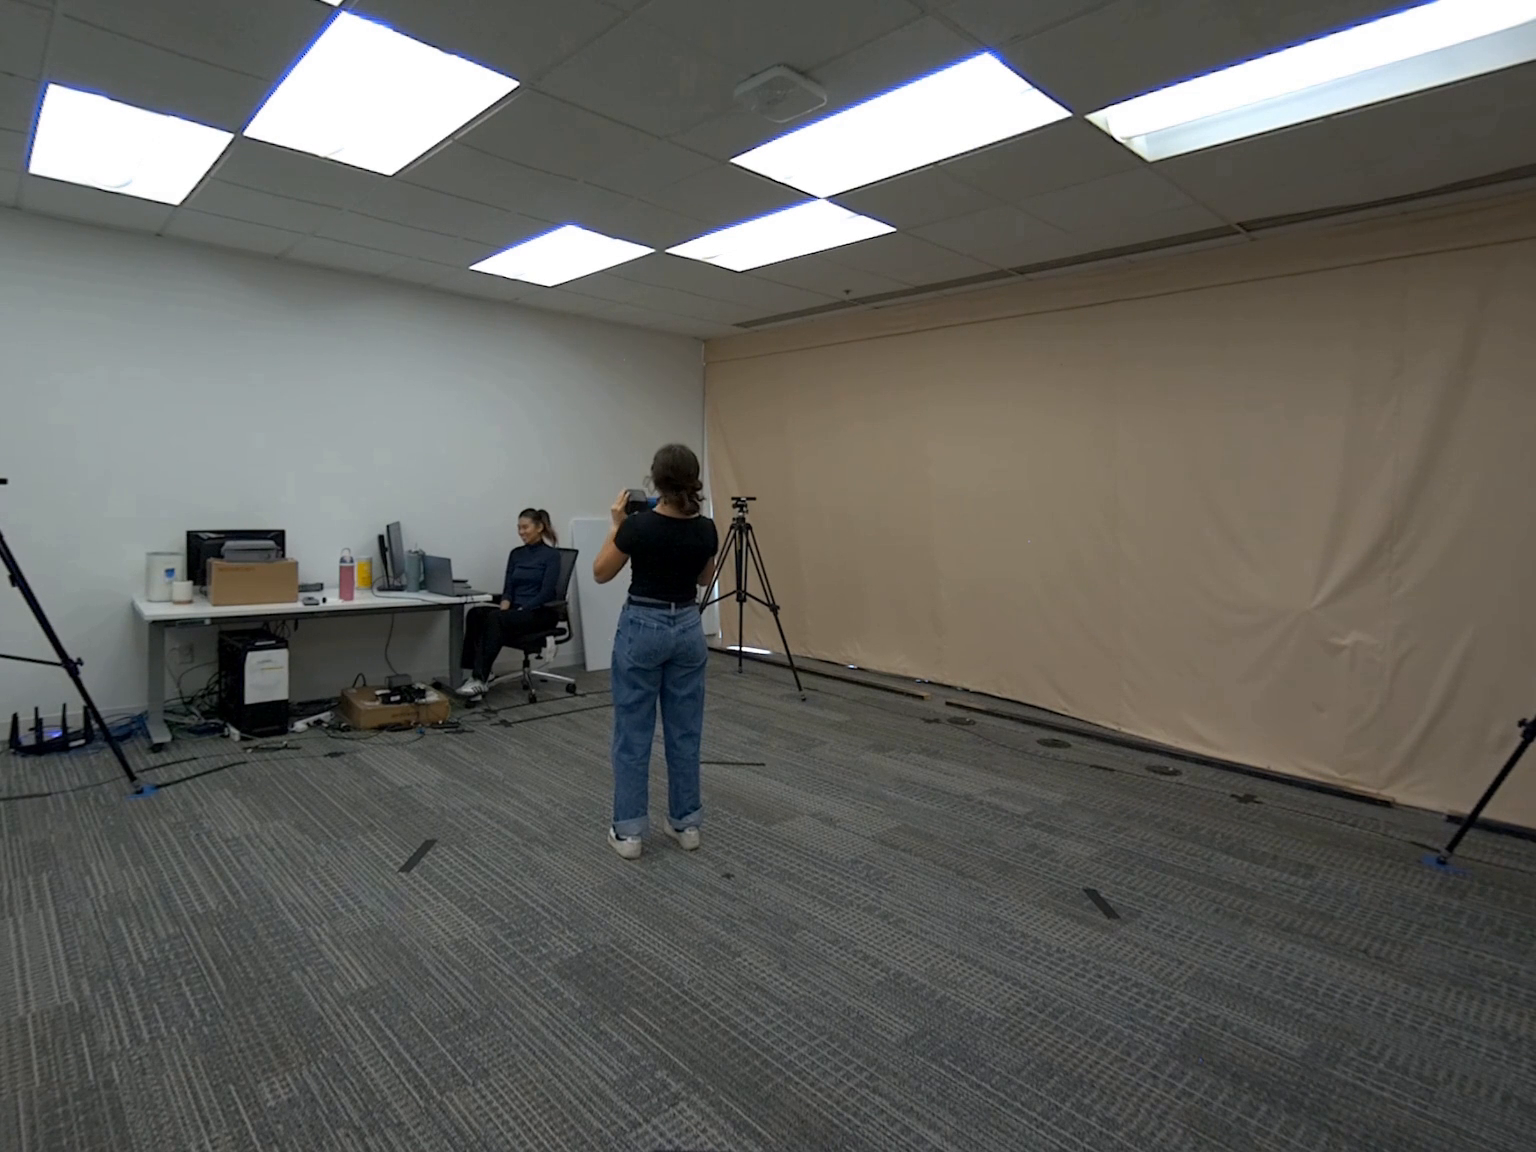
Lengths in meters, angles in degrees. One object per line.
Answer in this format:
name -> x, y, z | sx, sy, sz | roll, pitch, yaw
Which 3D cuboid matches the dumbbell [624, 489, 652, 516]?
dumbbell -> -0.449, -0.295, 3.415 | 0.288, 0.126, 0.108 | -2, -37, -27
